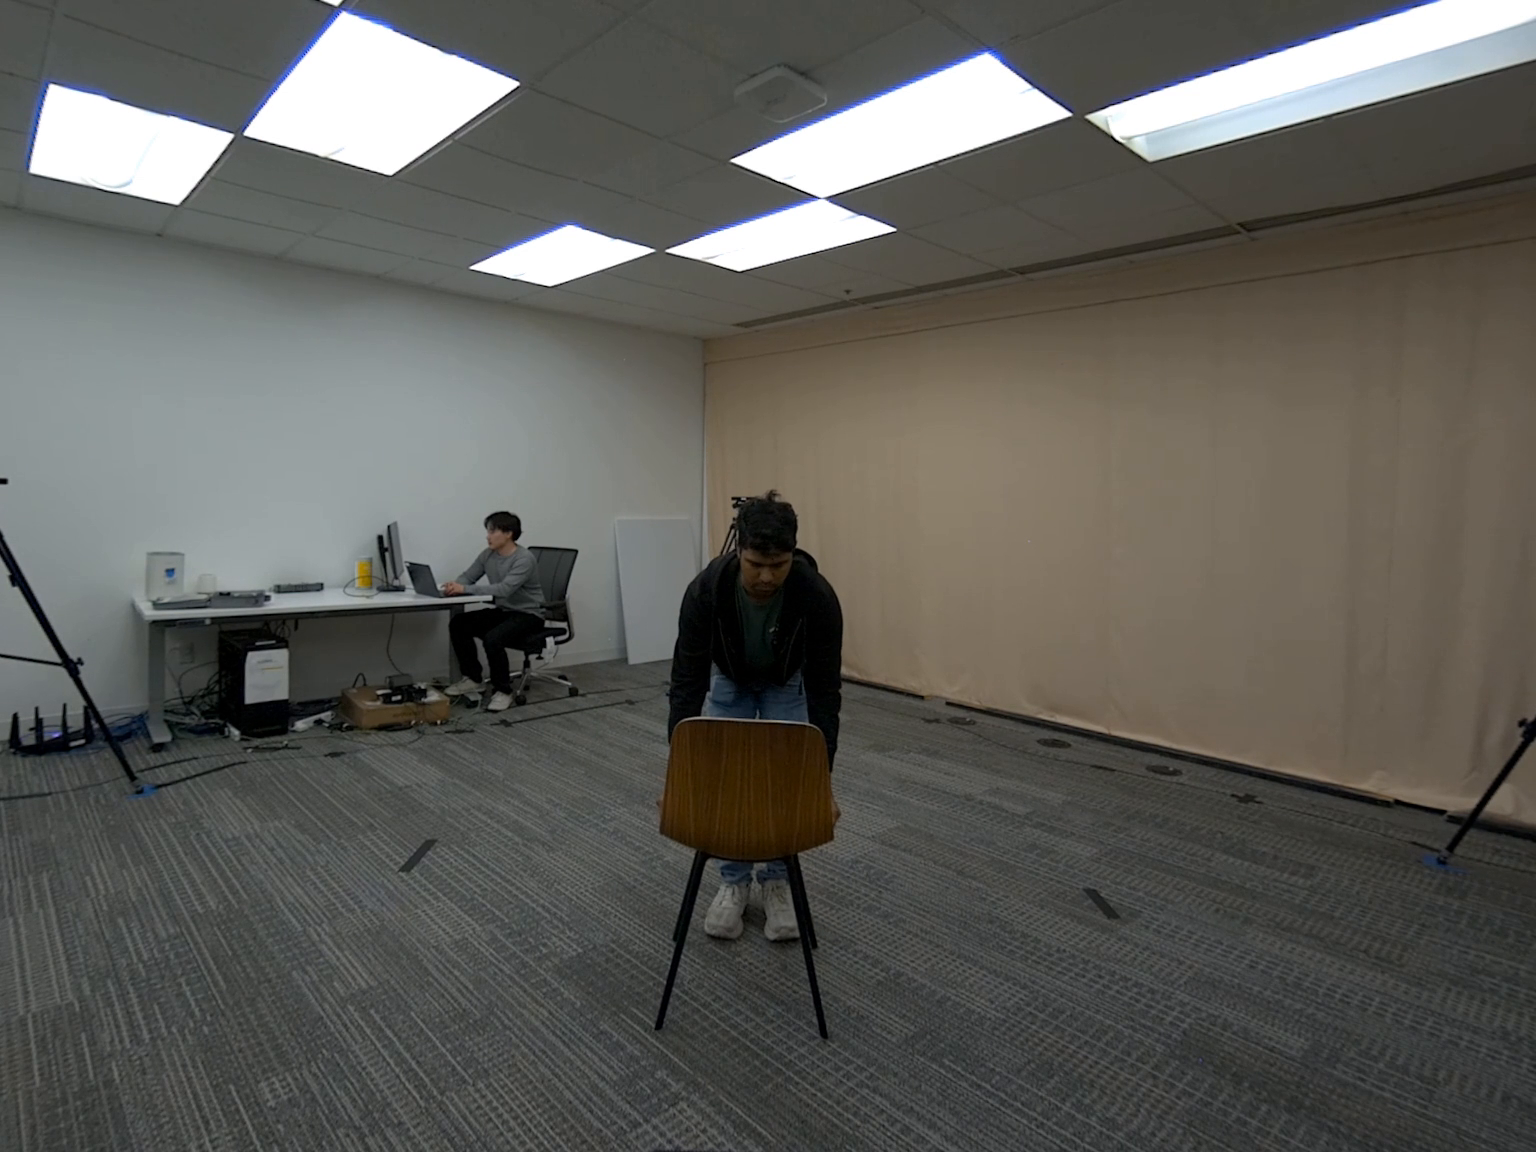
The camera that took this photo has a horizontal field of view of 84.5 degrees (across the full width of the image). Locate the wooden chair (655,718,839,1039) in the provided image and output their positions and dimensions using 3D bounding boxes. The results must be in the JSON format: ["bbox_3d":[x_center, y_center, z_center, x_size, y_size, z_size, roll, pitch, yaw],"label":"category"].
[{"bbox_3d":[-0.067,0.744,2.386,0.479,0.872,0.525,1,8,1],"label":"wooden chair"}]
